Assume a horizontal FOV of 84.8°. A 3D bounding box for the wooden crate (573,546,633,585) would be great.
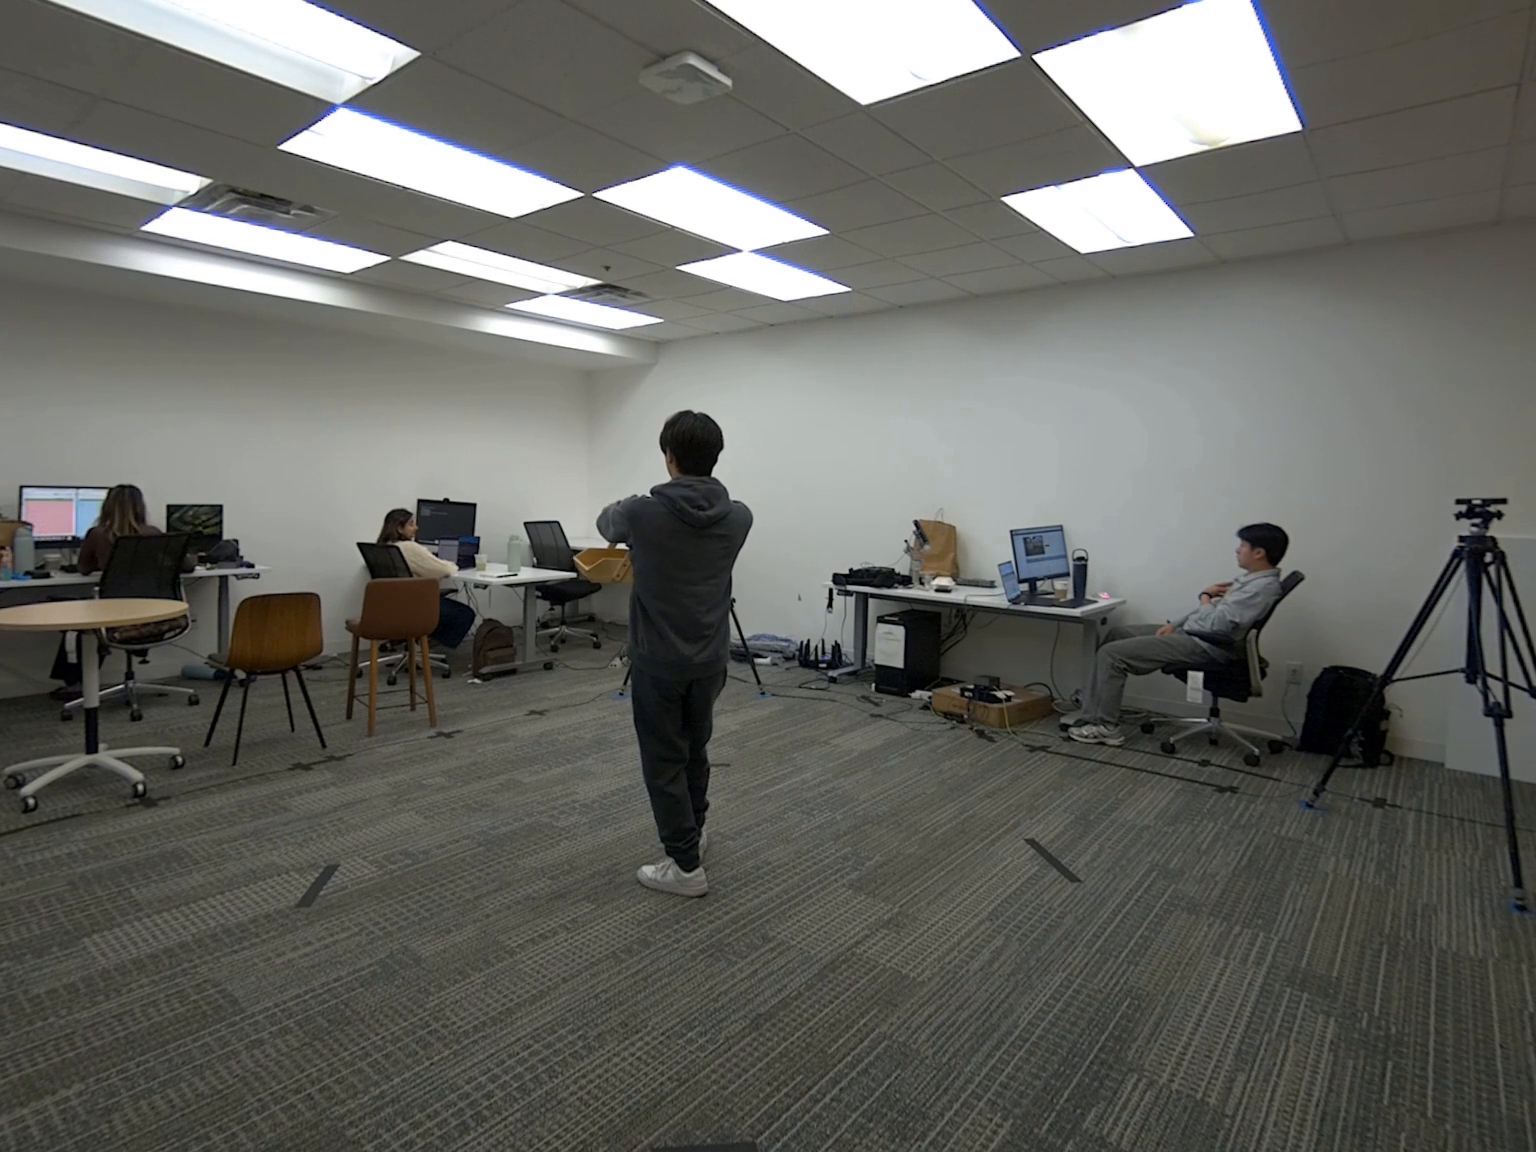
[{"bbox_3d":[-0.617,-0.135,3.425,0.295,0.272,0.333,3,8,-22],"label":"wooden crate"}]
